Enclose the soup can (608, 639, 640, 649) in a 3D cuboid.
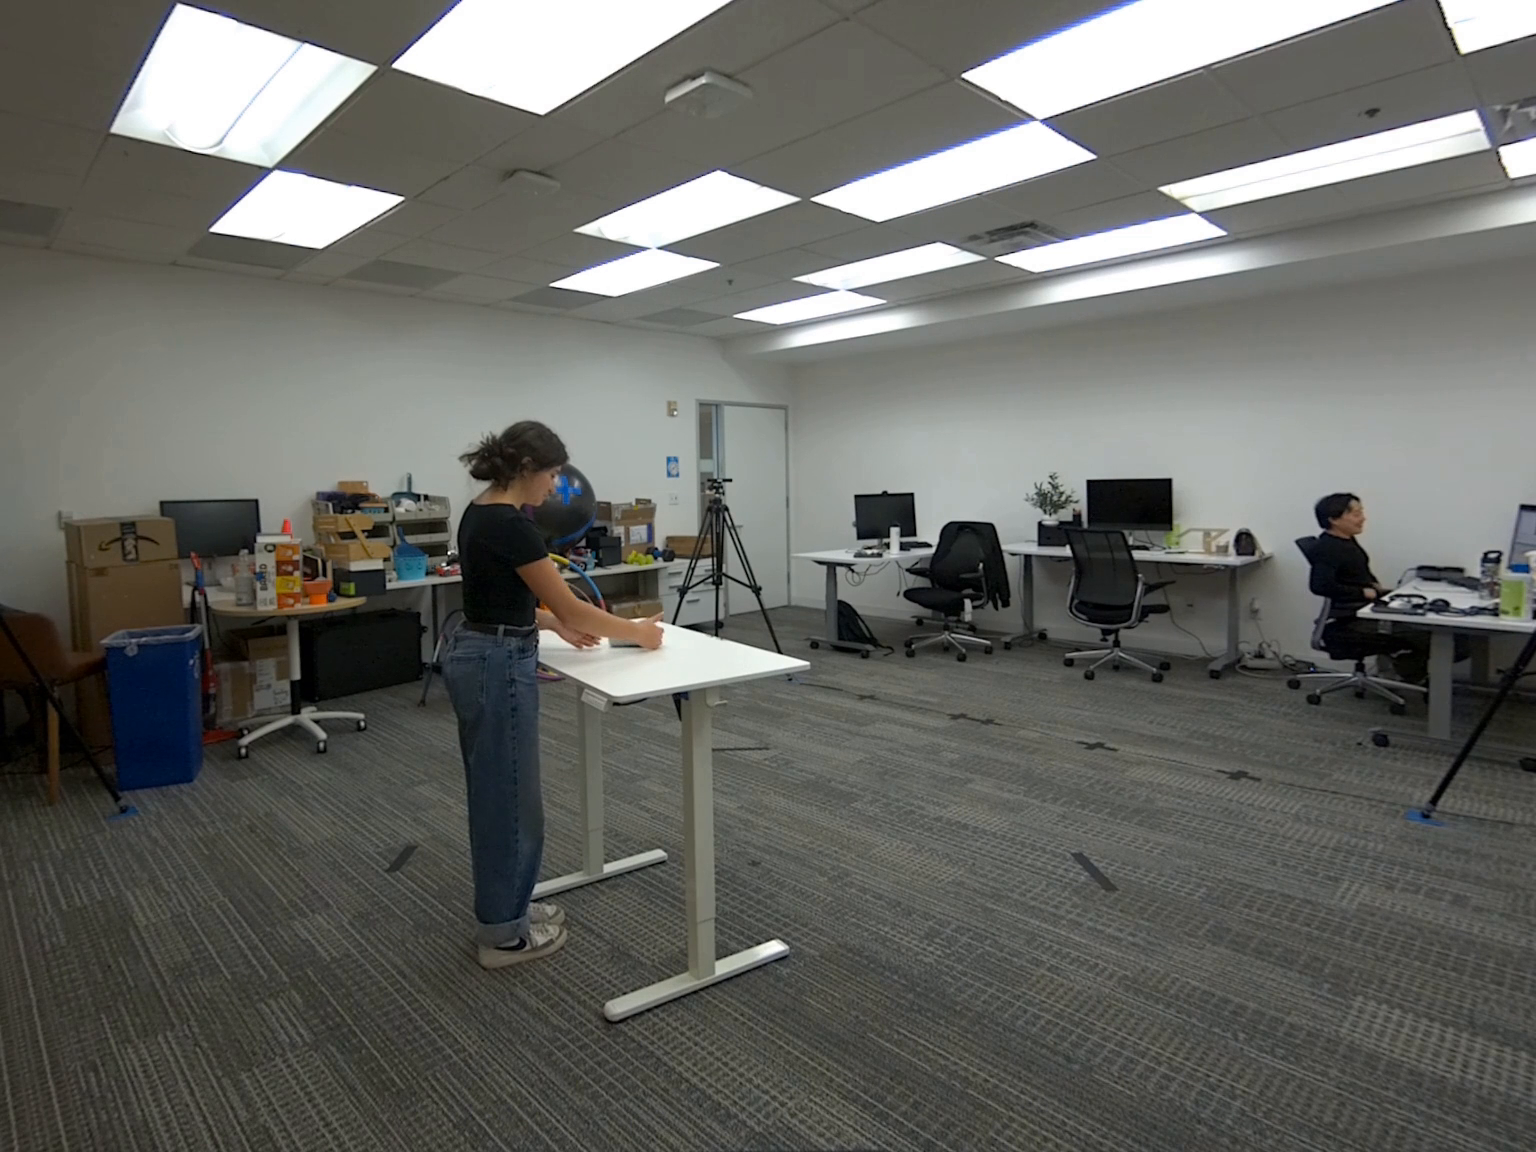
[{"bbox_3d":[-0.433,0.189,2.674,0.122,0.067,0.067,-1,5,6],"label":"soup can"}]
